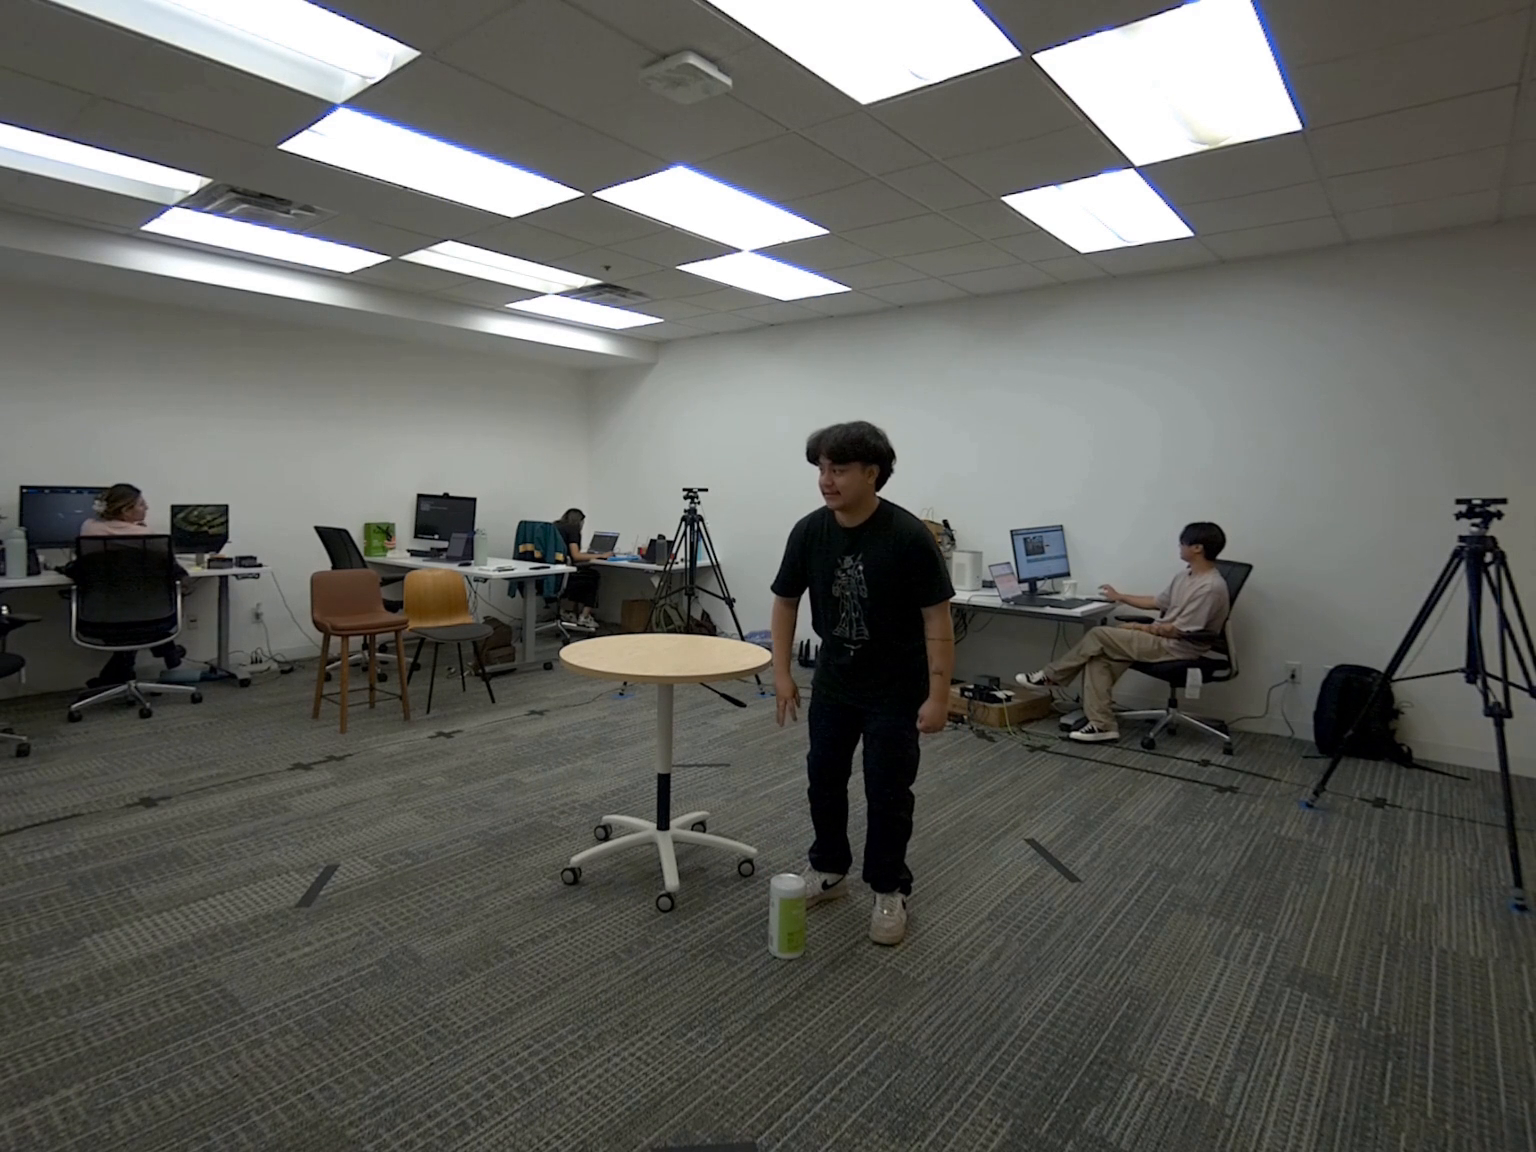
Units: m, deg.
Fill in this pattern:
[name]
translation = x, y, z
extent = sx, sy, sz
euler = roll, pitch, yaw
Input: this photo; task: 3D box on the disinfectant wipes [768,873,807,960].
[disinfectant wipes]
translation = 0.046, 1.030, 2.549
extent = 0.117, 0.217, 0.118
euler = 4, 3, -2
